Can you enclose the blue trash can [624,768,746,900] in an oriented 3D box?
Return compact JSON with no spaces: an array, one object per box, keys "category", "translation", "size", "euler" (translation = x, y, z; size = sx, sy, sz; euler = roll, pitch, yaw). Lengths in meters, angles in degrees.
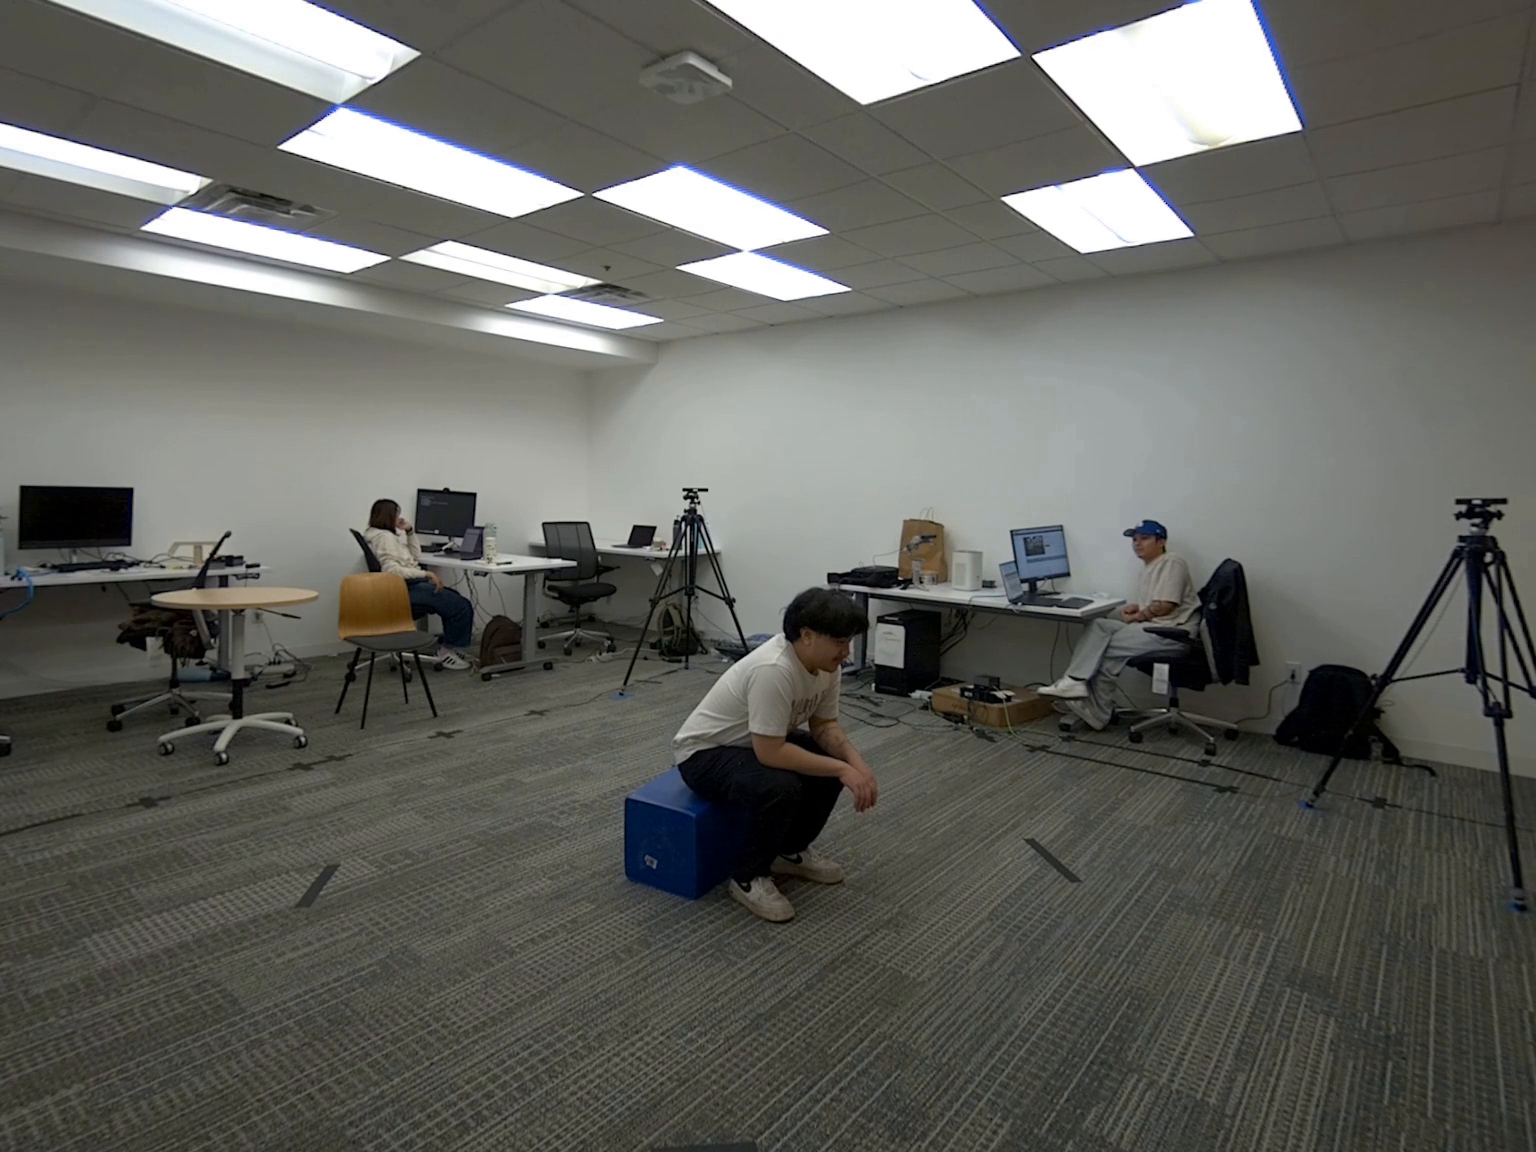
[{"category":"blue trash can","translation":[-0.219,0.893,3.230],"size":[0.389,0.371,0.698],"euler":[5,10,29]}]
